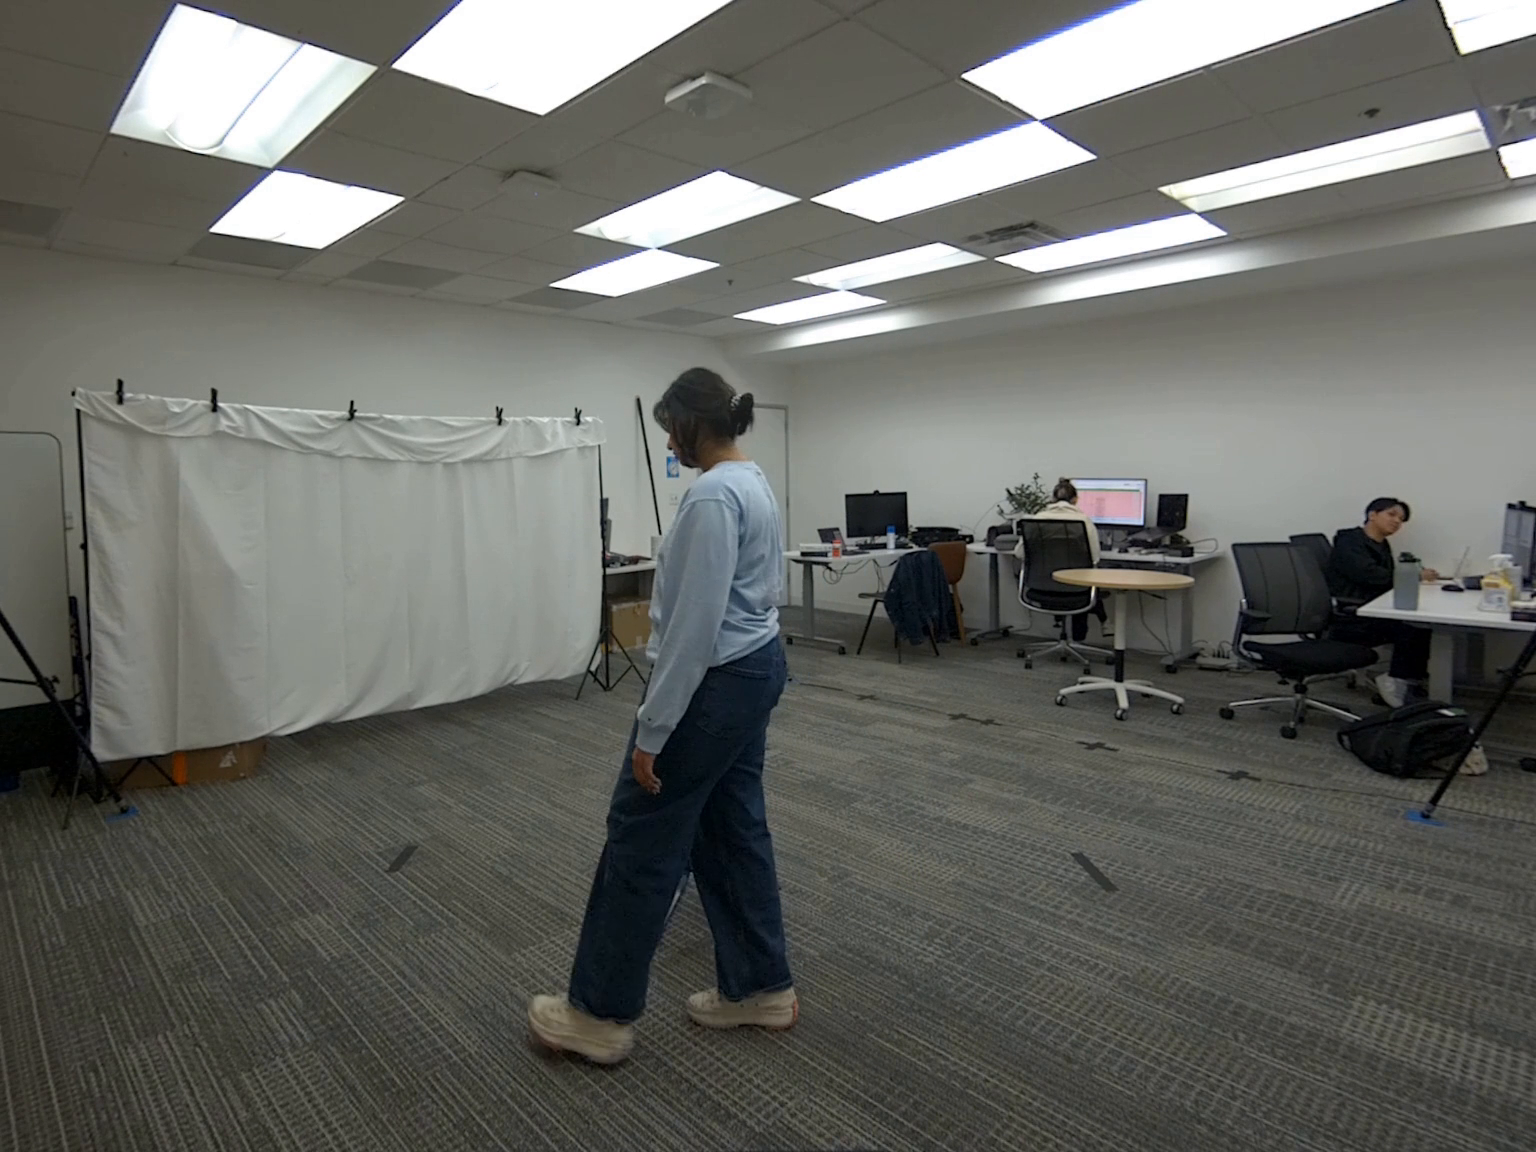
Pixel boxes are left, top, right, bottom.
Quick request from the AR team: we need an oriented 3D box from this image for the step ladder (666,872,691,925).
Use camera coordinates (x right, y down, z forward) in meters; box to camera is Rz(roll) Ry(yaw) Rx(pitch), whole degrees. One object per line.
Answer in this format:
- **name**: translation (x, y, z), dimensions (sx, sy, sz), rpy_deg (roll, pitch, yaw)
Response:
- **step ladder**: translation (-0.164, 0.787, 2.731), dimensions (0.353, 0.604, 0.428), rpy_deg (0, 5, 10)
